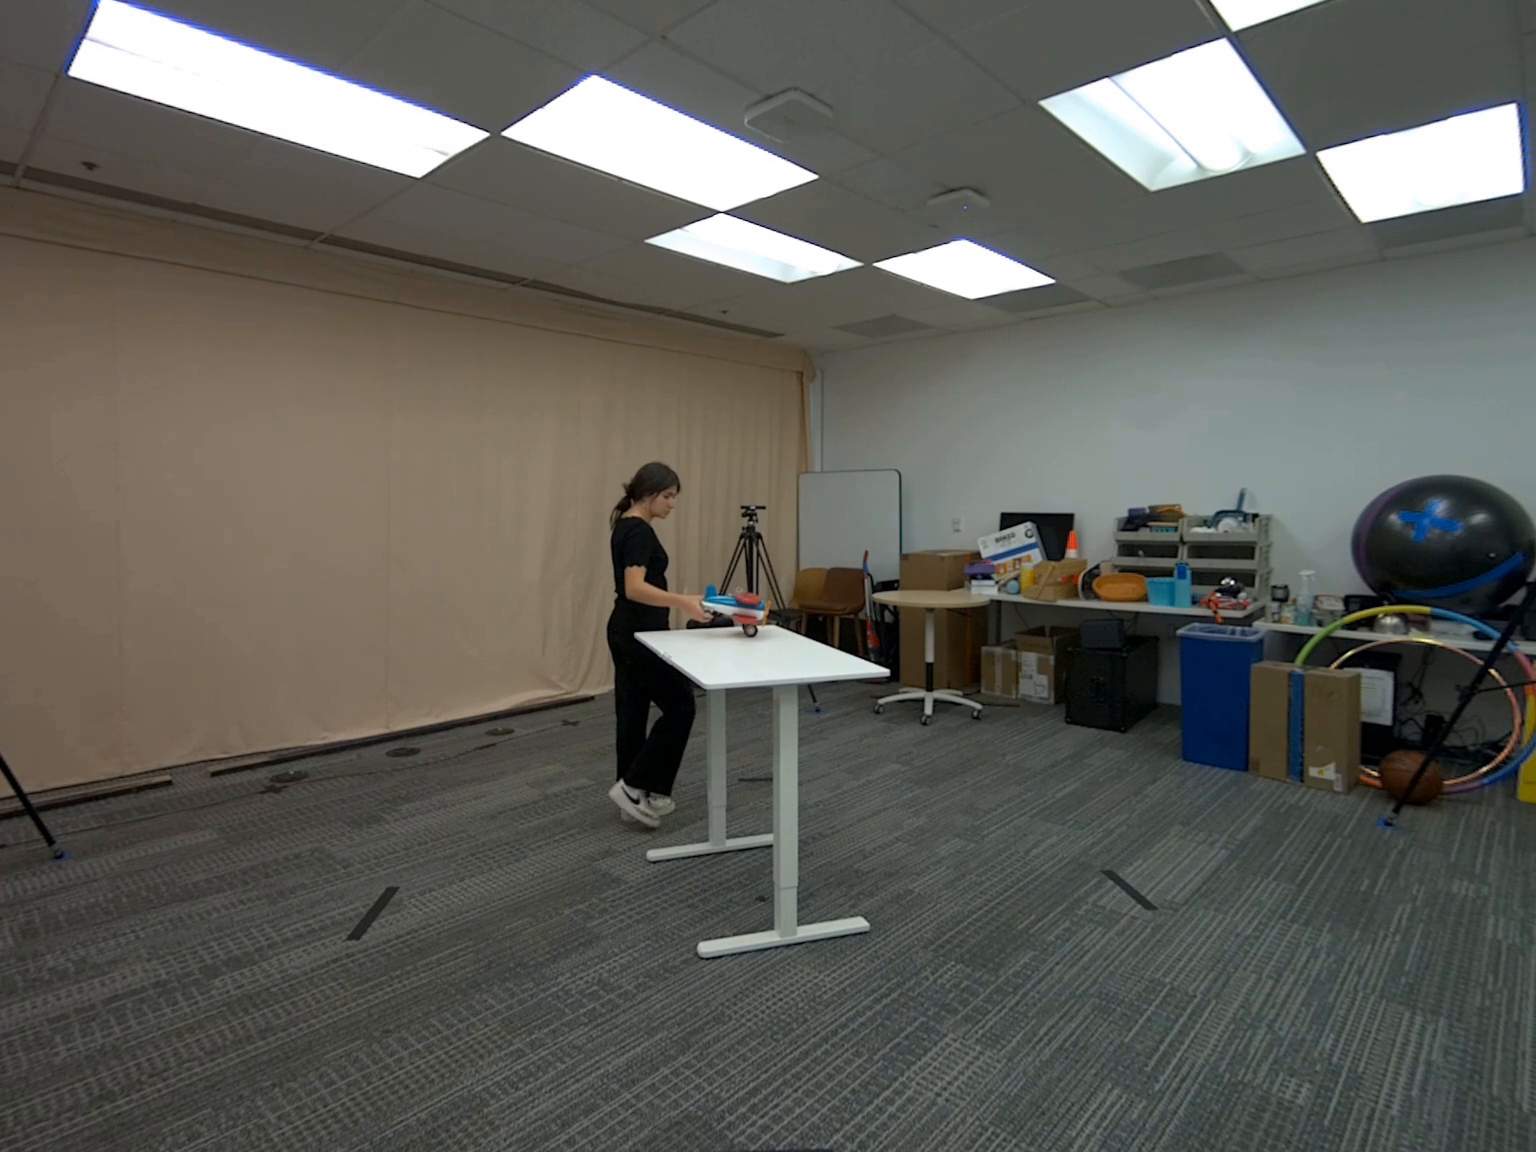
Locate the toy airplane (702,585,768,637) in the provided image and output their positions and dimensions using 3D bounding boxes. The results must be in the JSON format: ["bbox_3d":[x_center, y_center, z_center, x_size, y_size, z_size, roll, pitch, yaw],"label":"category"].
[{"bbox_3d":[-0.120,0.132,3.271,0.250,0.156,0.260,22,2,-35],"label":"toy airplane"}]
